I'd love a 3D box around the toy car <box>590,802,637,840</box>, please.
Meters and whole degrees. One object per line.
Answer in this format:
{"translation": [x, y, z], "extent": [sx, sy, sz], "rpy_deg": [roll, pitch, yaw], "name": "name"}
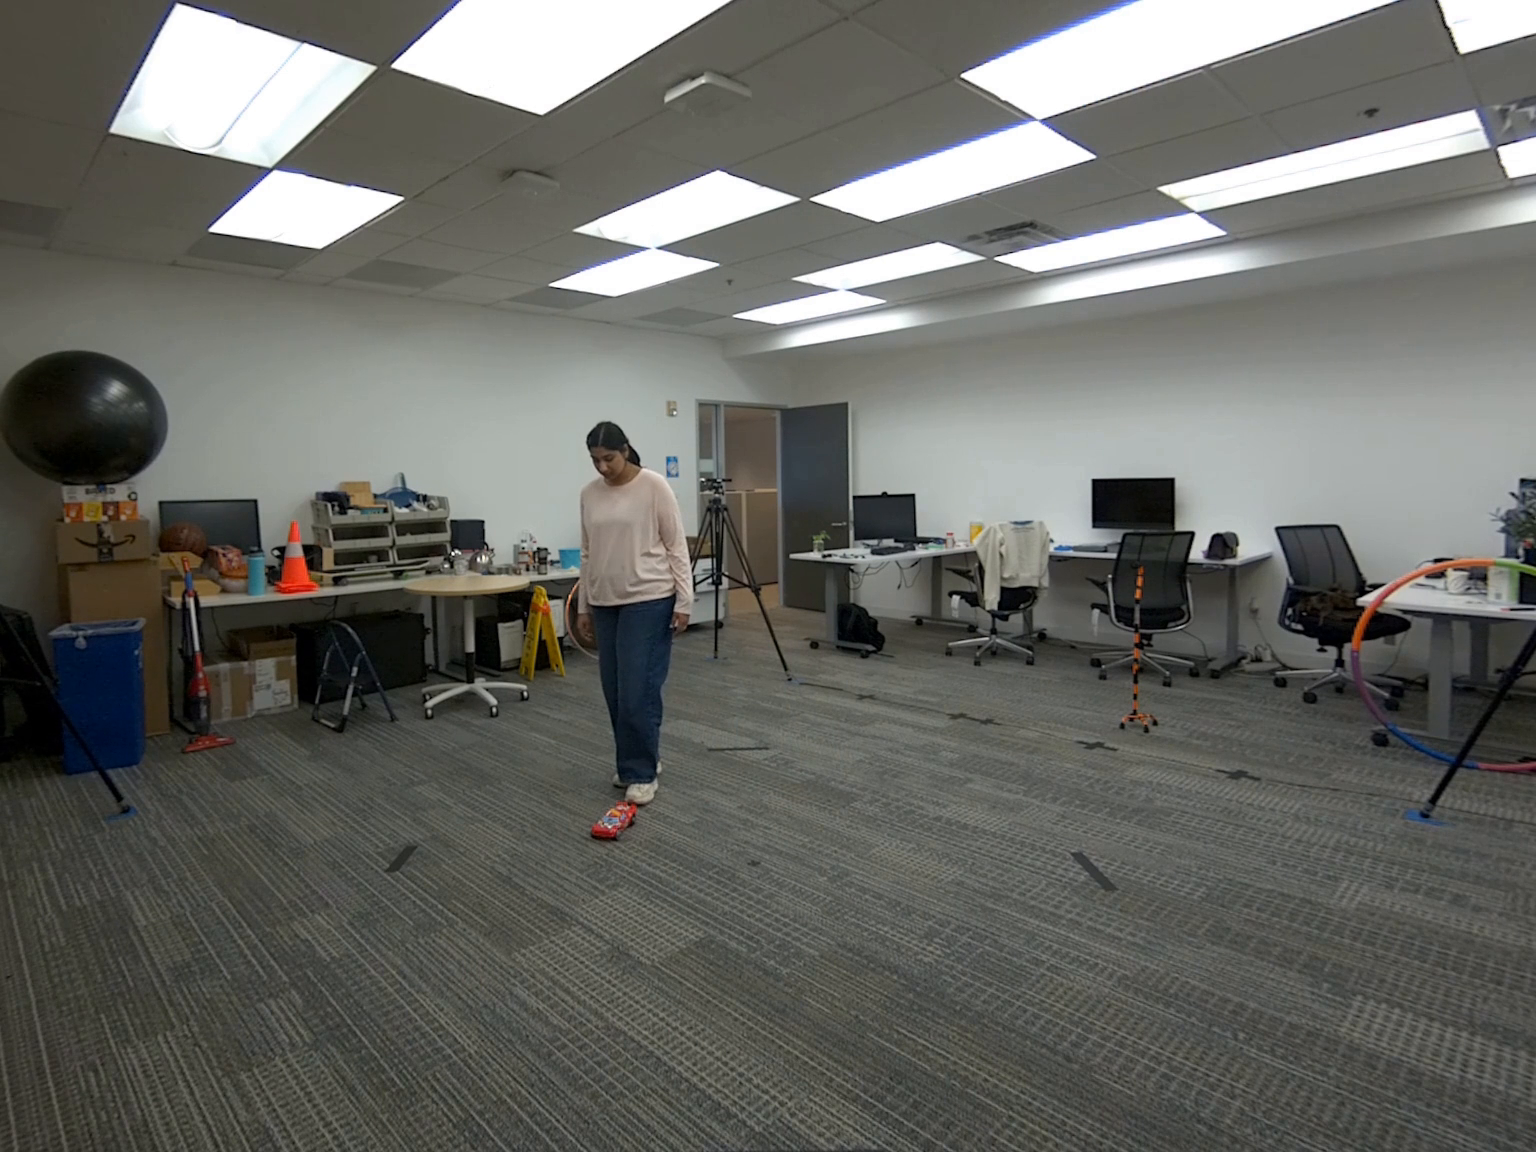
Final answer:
{"translation": [-0.616, 0.993, 3.437], "extent": [0.132, 0.082, 0.254], "rpy_deg": [0, 17, 14], "name": "toy car"}
